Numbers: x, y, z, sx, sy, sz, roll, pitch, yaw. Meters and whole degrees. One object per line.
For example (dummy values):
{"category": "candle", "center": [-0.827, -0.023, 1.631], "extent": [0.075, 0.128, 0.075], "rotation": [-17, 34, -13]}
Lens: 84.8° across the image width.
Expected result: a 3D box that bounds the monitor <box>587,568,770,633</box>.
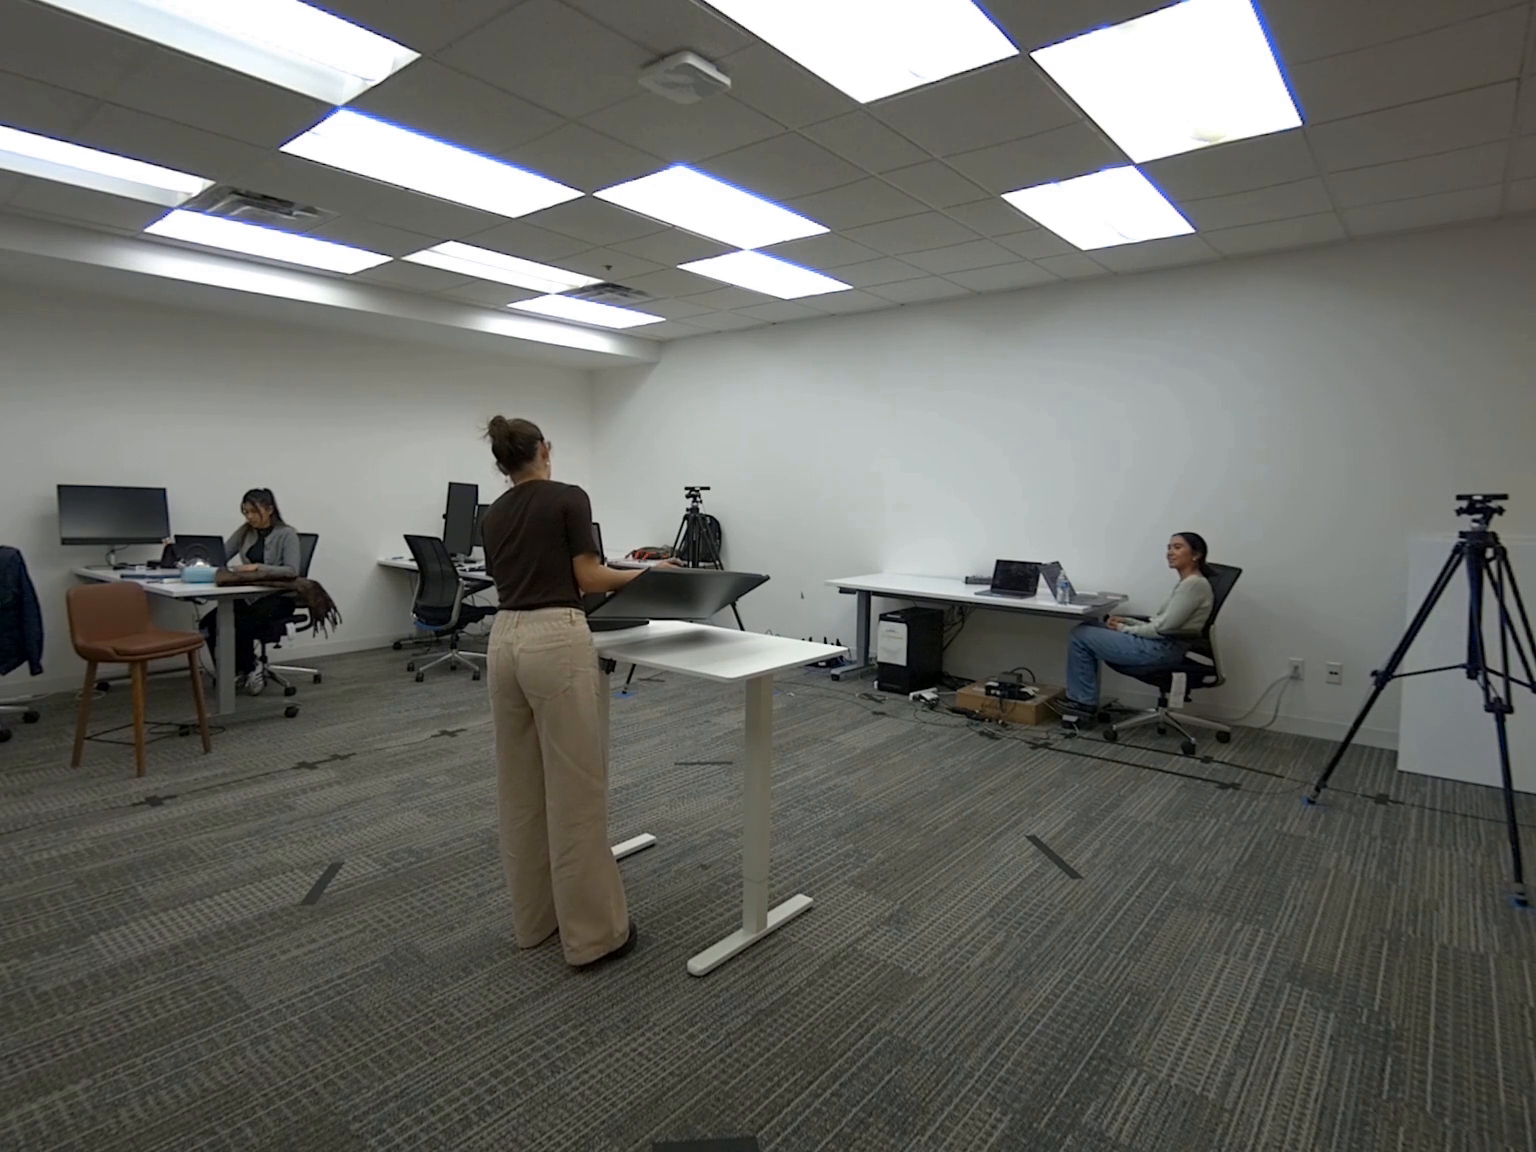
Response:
{"category": "monitor", "center": [-0.374, 0.056, 2.835], "extent": [0.522, 0.189, 0.534], "rotation": [-3, -10, -45]}
